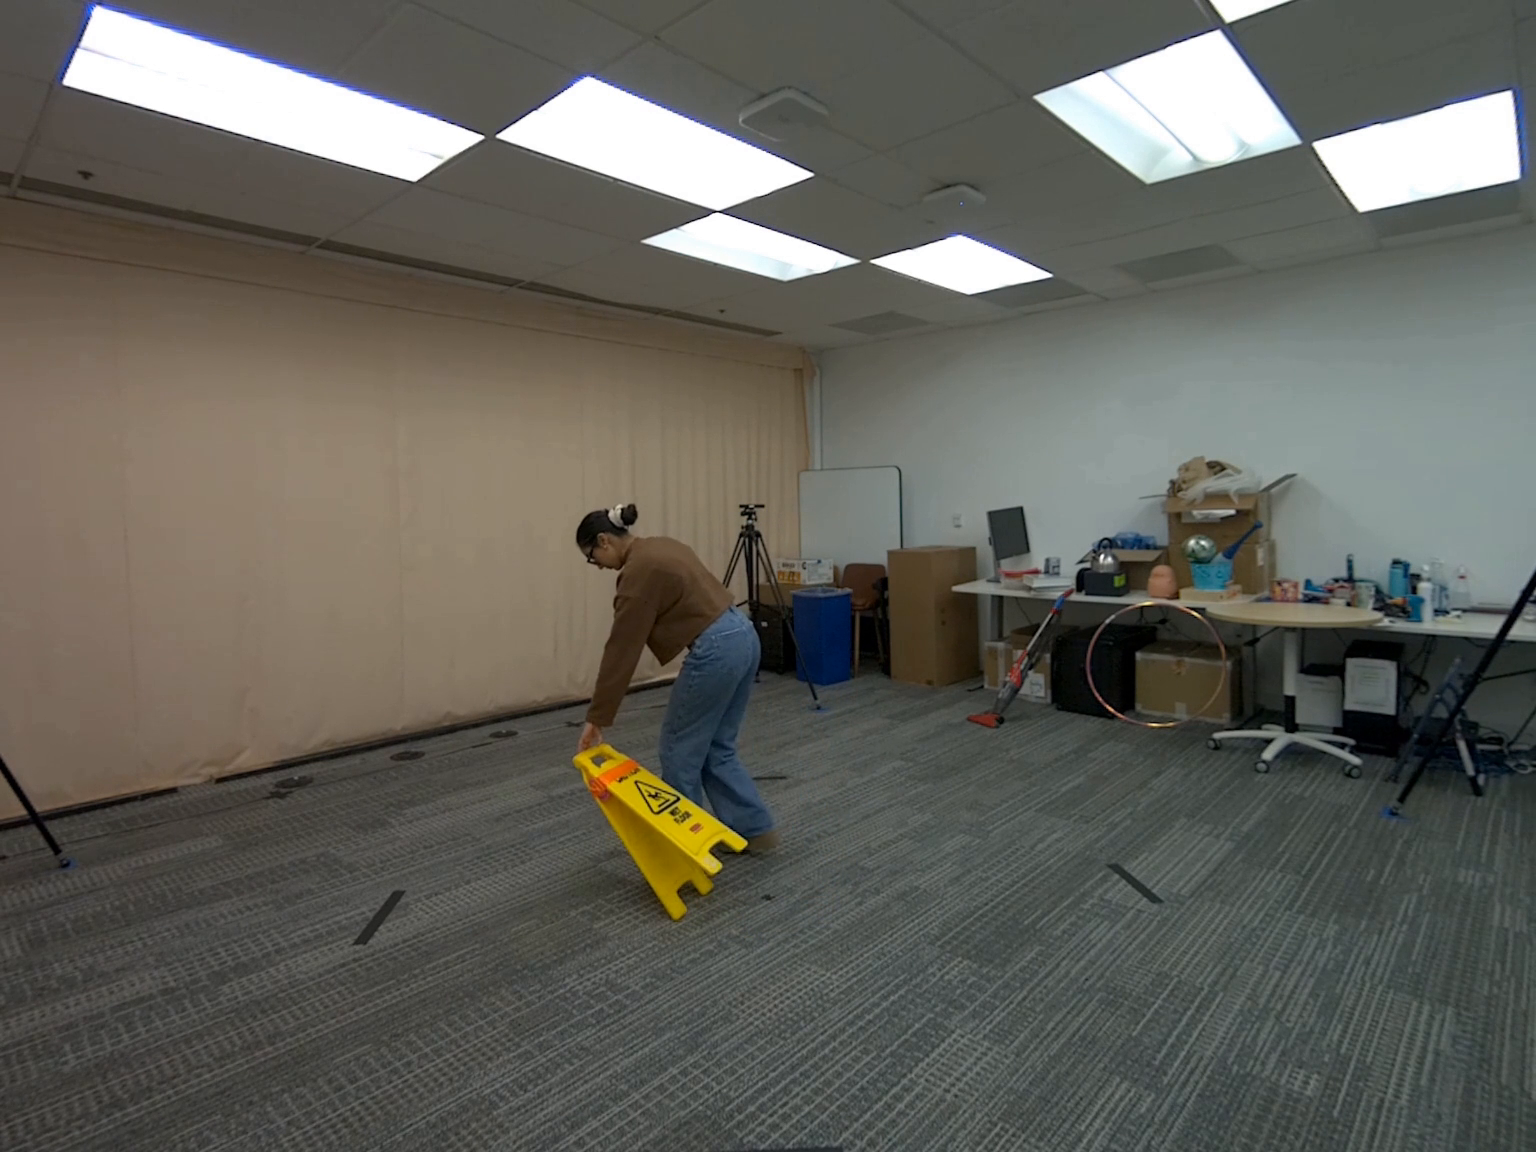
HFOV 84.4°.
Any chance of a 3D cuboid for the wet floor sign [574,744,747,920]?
[{"bbox_3d":[-0.418,0.849,3.012,0.660,0.290,0.275,41,18,18],"label":"wet floor sign"}]
